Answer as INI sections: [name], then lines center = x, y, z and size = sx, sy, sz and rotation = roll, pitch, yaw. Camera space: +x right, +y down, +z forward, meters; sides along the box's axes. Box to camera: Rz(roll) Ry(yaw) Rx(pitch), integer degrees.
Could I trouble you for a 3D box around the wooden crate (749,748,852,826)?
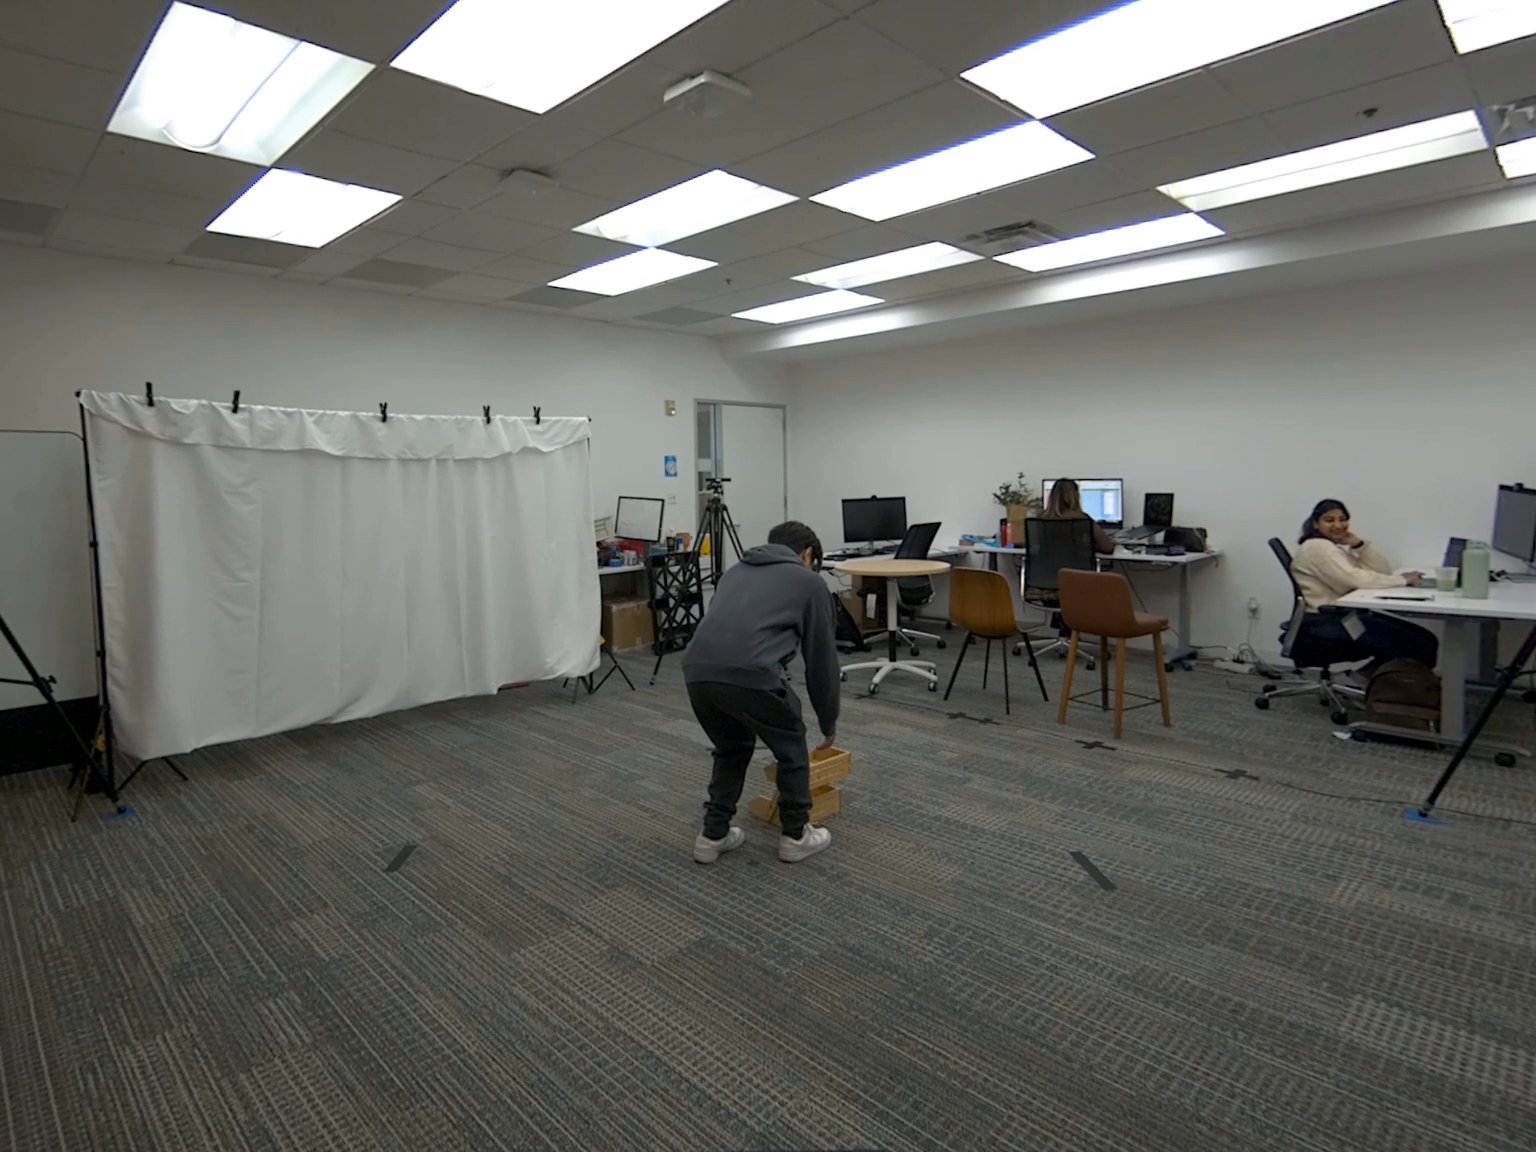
[wooden crate]
center = 0.130, 0.856, 3.547
size = 0.316, 0.272, 0.311
rotation = -7, 9, -44
